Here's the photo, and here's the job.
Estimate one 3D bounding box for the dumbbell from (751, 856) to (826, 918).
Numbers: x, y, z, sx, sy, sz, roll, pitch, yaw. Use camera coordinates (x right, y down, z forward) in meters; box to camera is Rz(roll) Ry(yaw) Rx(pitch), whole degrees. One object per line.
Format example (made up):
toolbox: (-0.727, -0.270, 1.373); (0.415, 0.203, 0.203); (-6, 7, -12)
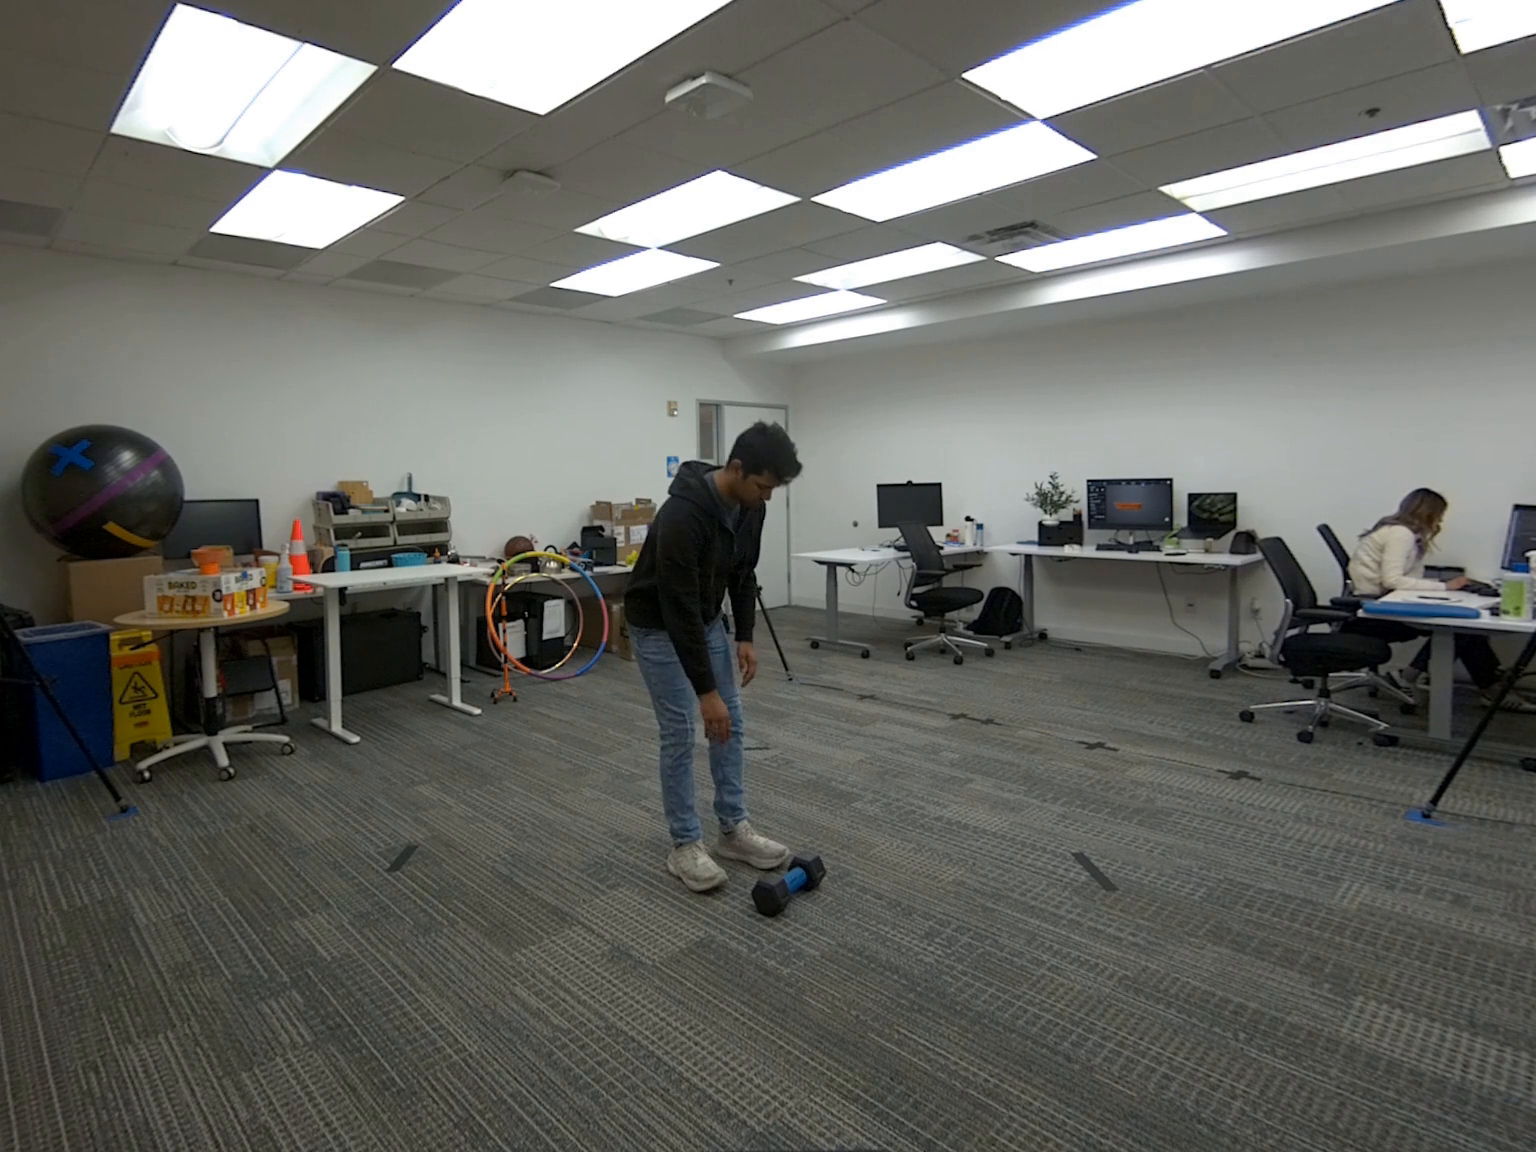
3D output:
dumbbell: (0.078, 1.018, 2.839); (0.109, 0.125, 0.286); (-35, -15, 34)
